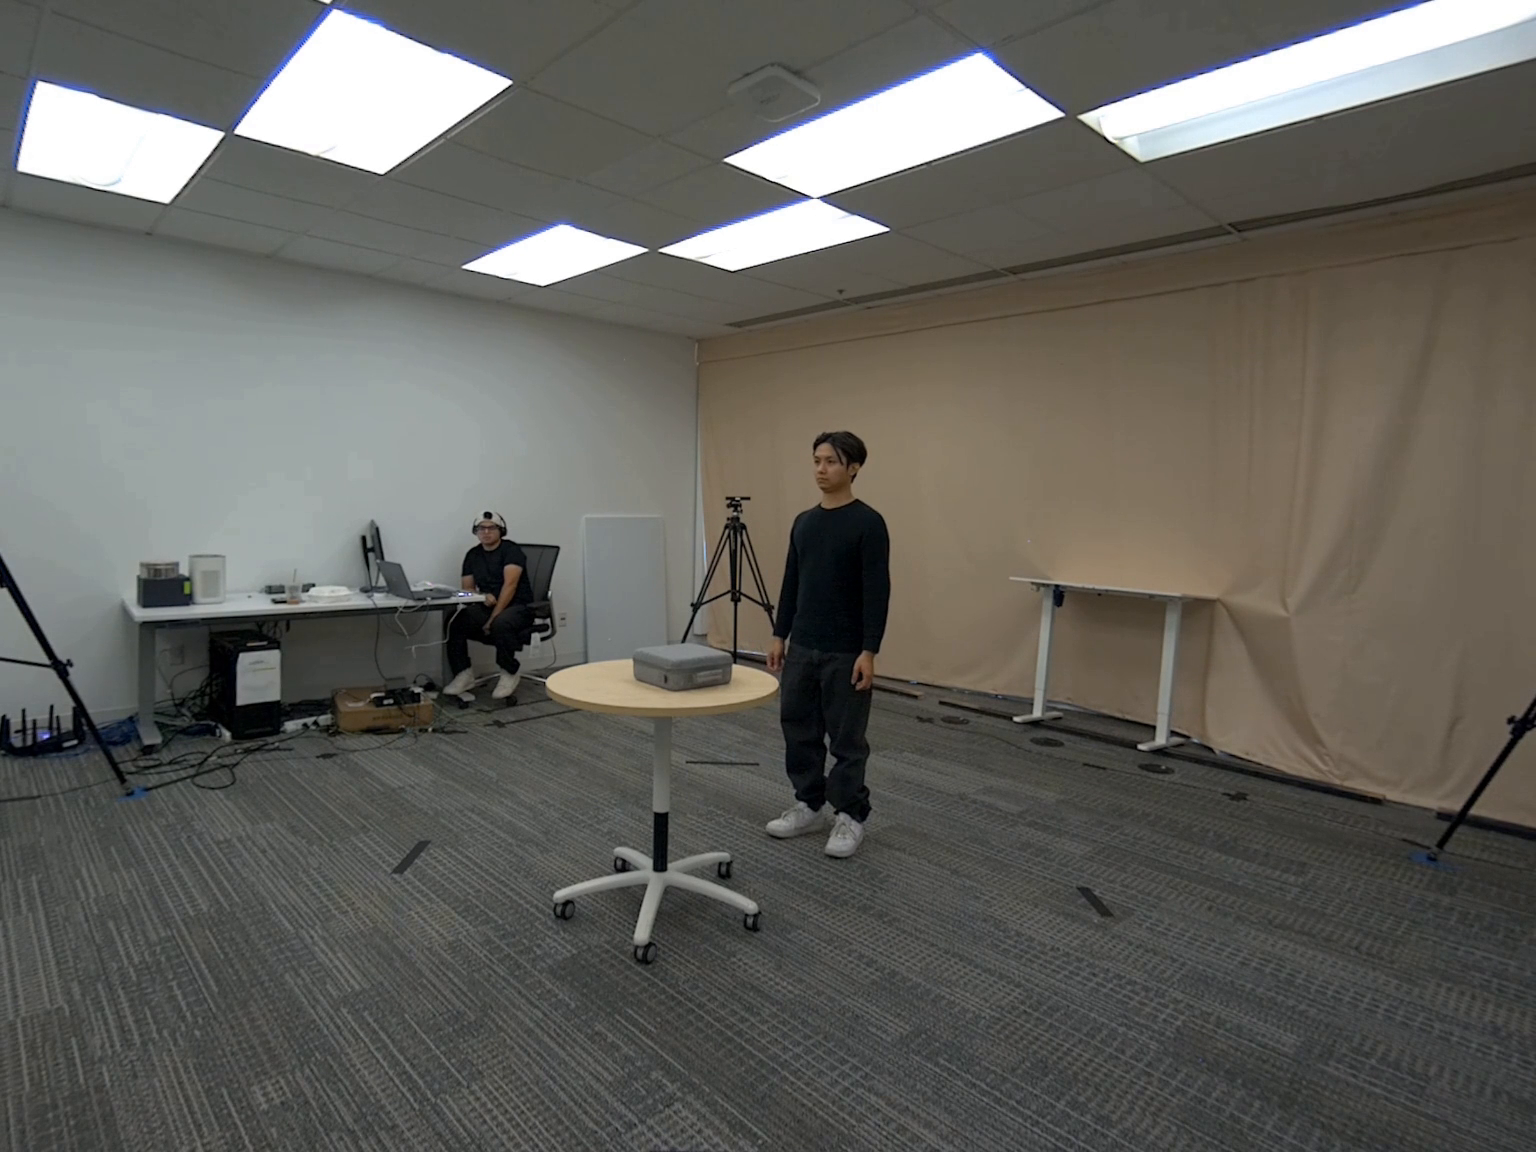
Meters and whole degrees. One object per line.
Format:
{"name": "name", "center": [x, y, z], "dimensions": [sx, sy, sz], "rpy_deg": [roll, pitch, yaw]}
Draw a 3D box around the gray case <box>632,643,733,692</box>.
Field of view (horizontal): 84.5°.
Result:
{"name": "gray case", "center": [-0.281, 0.295, 2.776], "dimensions": [0.251, 0.104, 0.267], "rpy_deg": [-2, 6, -41]}
